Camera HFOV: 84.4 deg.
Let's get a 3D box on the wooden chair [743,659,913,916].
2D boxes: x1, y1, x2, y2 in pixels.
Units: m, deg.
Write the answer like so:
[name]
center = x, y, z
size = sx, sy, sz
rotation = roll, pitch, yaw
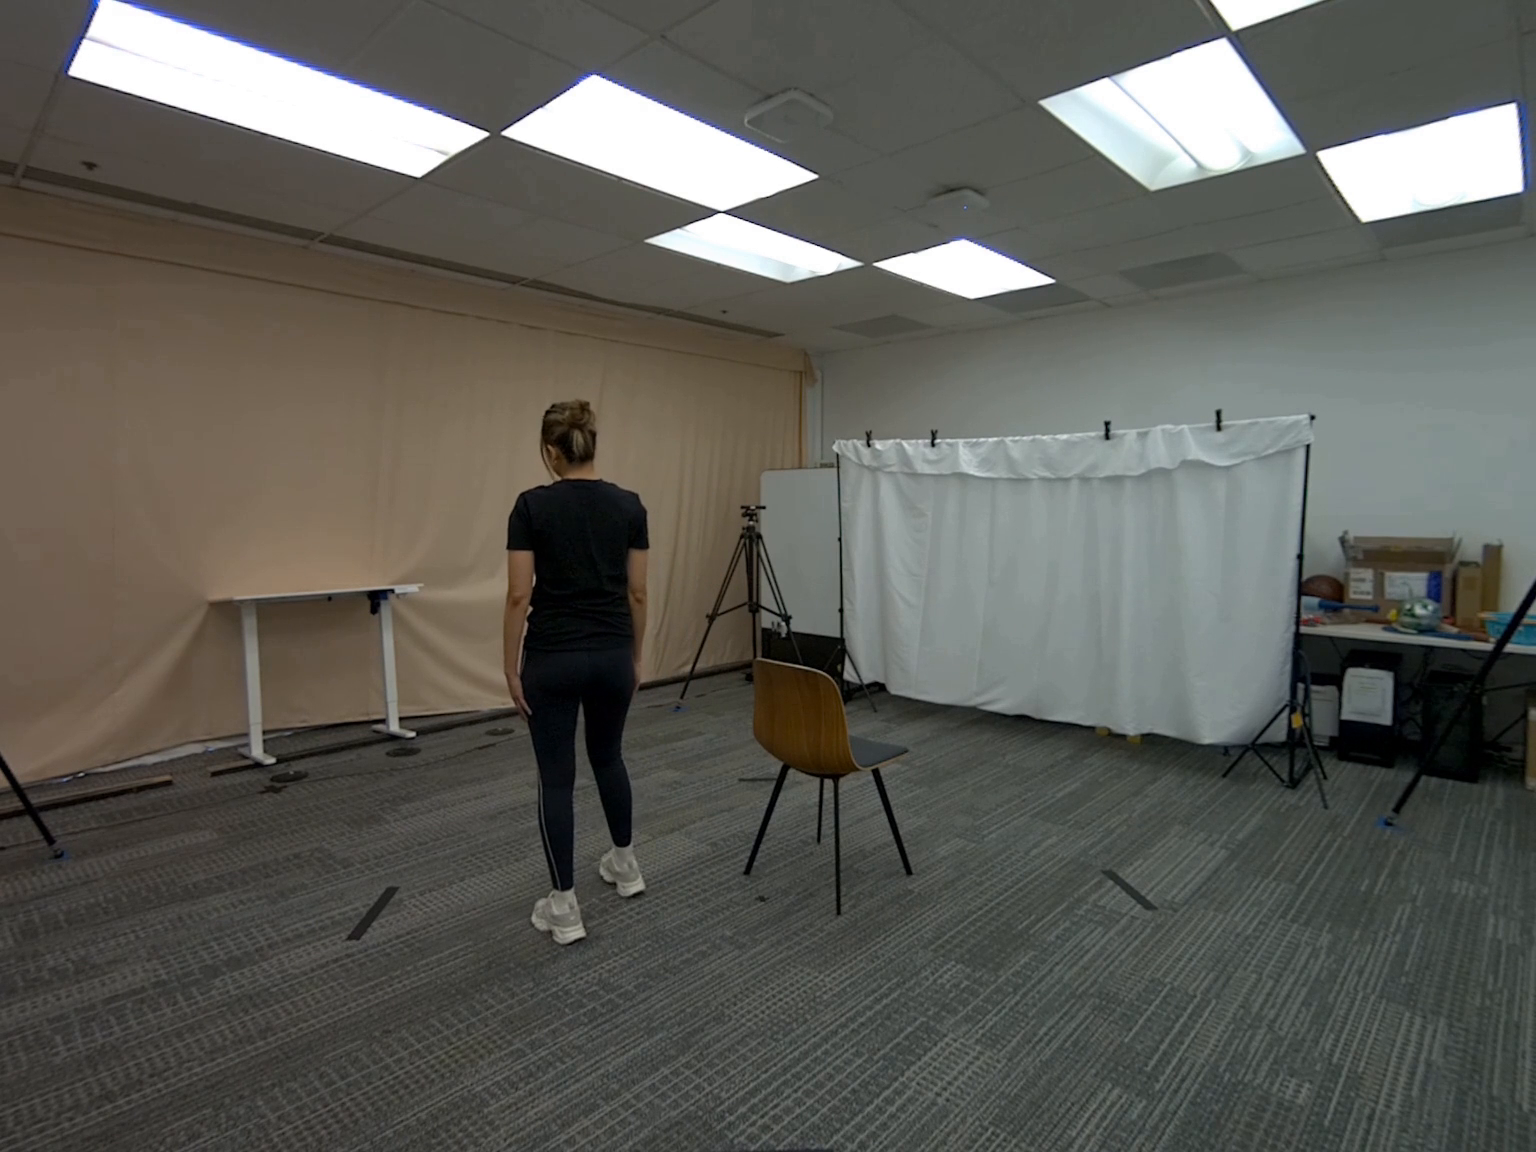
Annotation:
[wooden chair]
center = 0.230, 0.700, 3.152
size = 0.494, 0.873, 0.508
rotation = 3, 9, 43
